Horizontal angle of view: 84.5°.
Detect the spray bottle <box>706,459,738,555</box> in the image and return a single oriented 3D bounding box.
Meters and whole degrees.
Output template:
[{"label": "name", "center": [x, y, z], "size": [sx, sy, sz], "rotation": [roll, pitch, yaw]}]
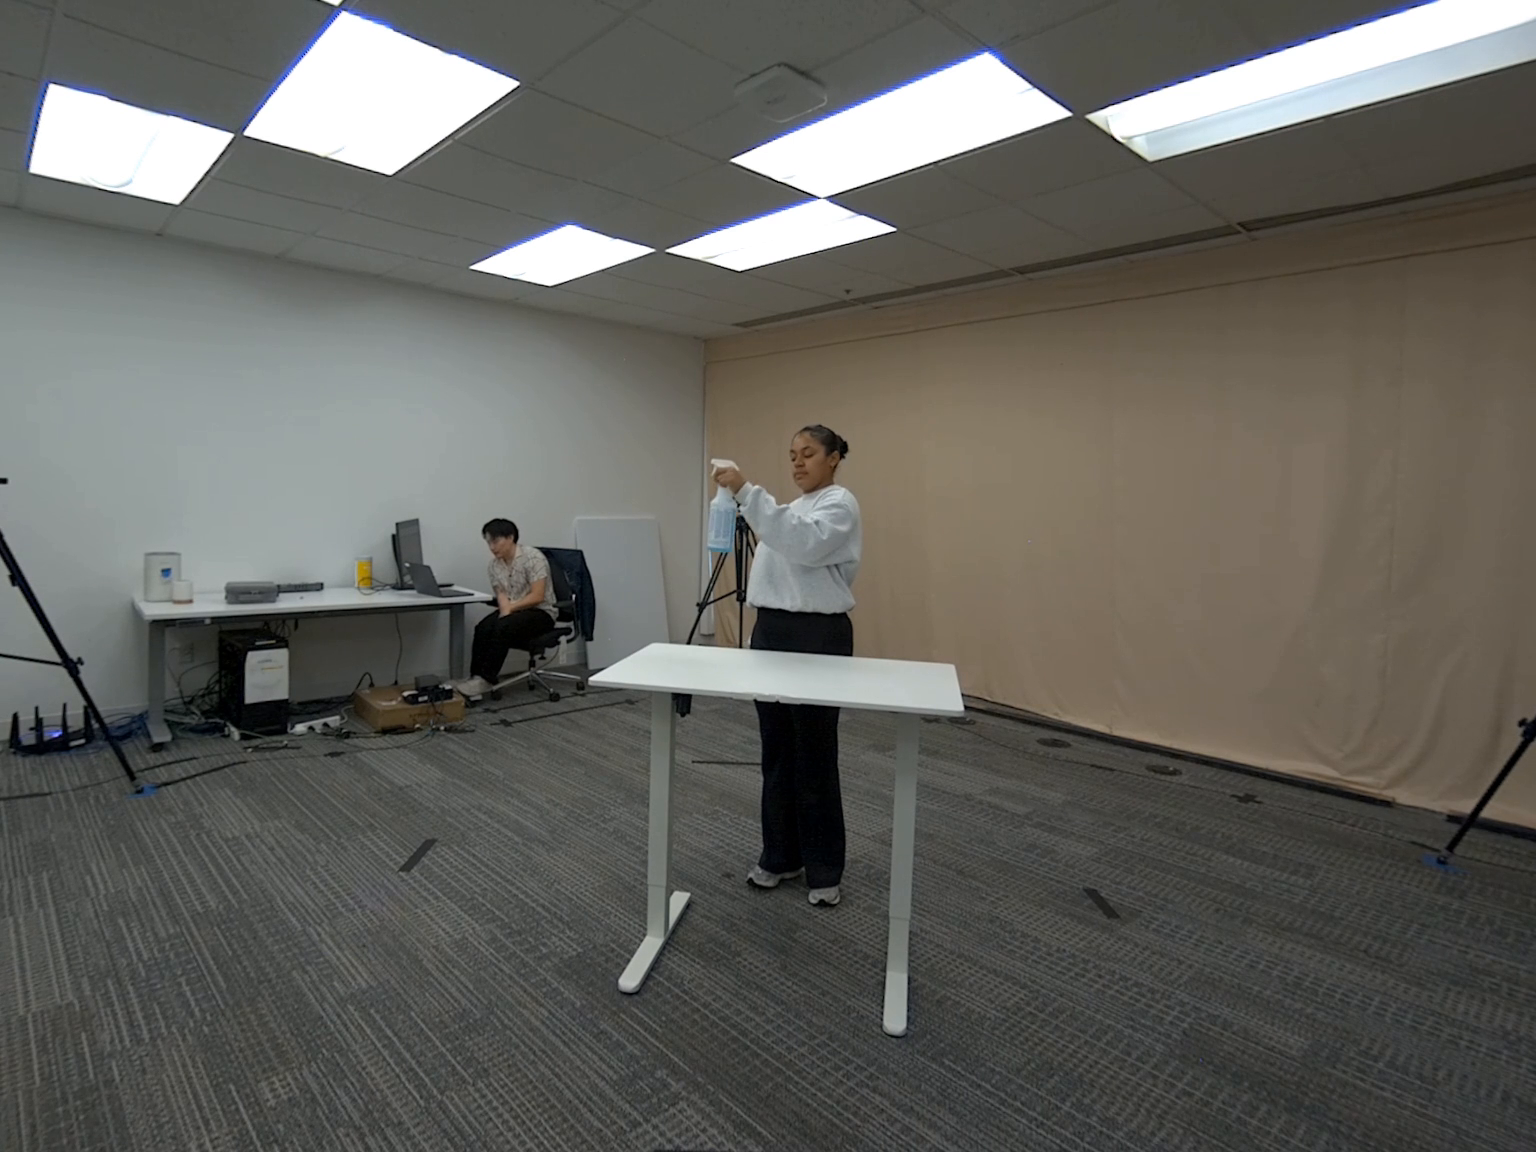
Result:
[{"label": "spray bottle", "center": [-0.143, -0.220, 2.725], "size": [0.092, 0.296, 0.085], "rotation": [5, 4, 28]}]
